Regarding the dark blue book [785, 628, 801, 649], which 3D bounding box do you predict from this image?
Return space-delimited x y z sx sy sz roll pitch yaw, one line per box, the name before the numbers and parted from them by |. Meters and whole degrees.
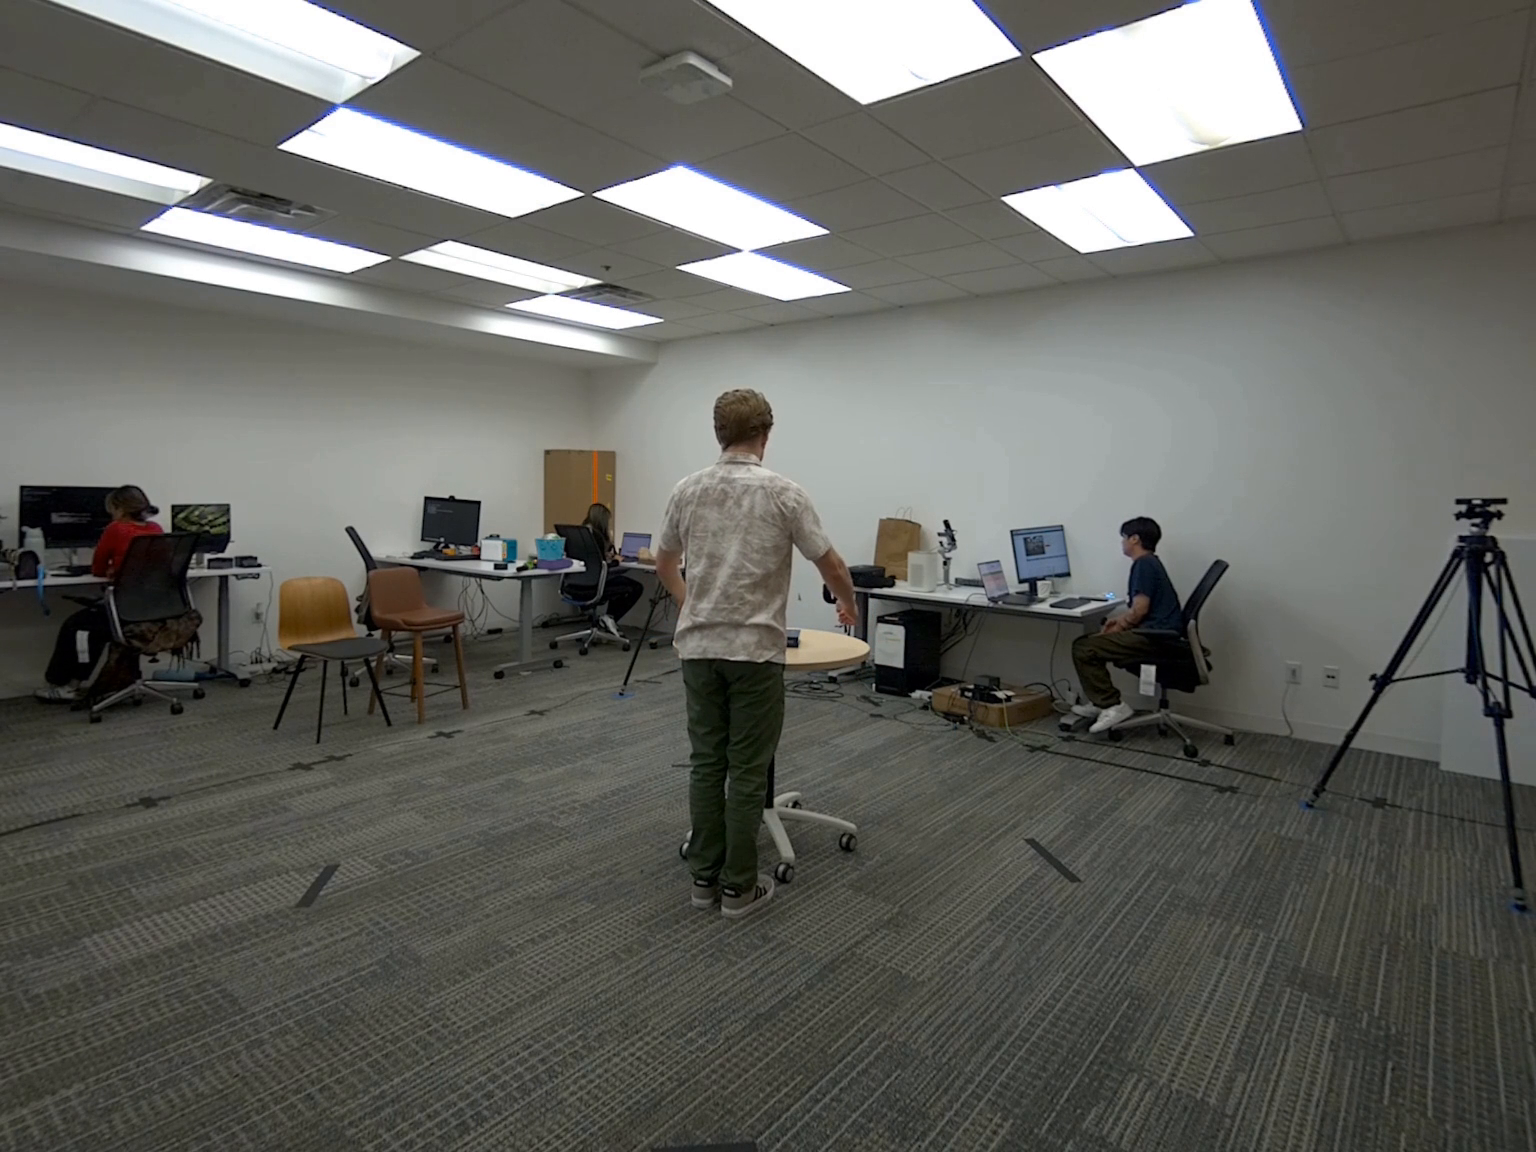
dark blue book | -0.003 0.235 3.342 0.247 0.045 0.163 1 6 7
